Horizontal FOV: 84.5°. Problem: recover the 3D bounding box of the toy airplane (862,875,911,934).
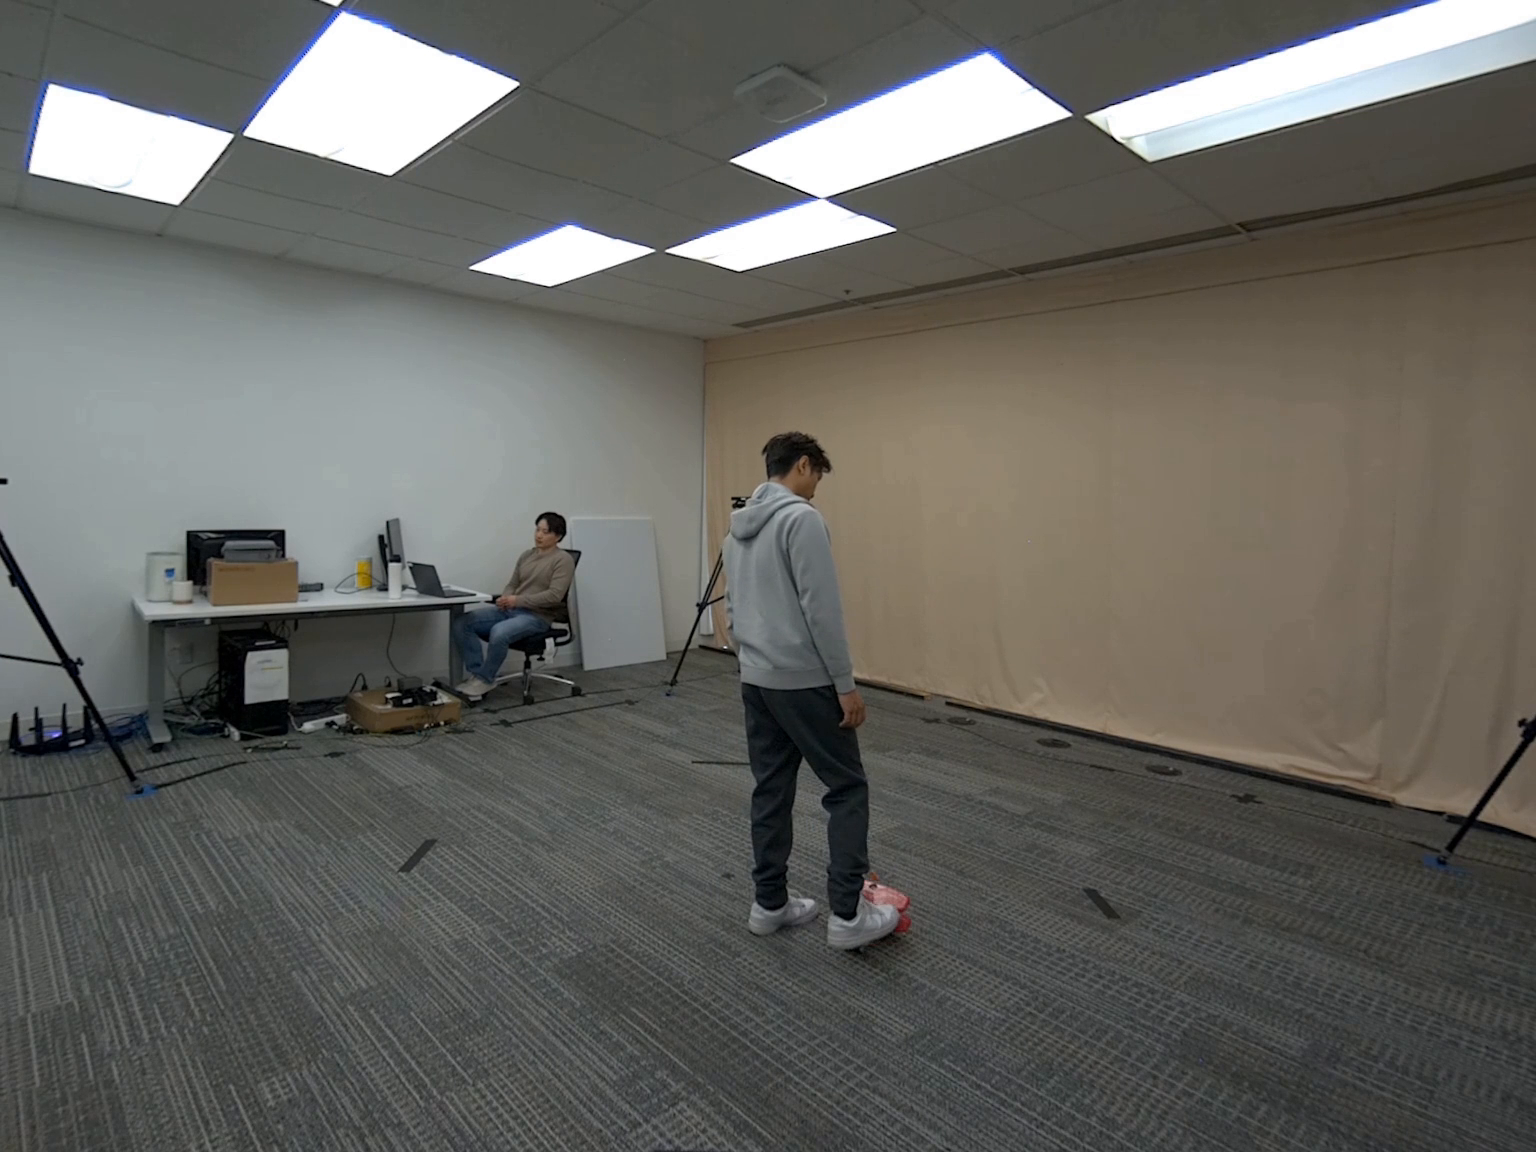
[{"bbox_3d":[0.320,1.086,2.672,0.252,0.156,0.259,3,4,4],"label":"toy airplane"}]
